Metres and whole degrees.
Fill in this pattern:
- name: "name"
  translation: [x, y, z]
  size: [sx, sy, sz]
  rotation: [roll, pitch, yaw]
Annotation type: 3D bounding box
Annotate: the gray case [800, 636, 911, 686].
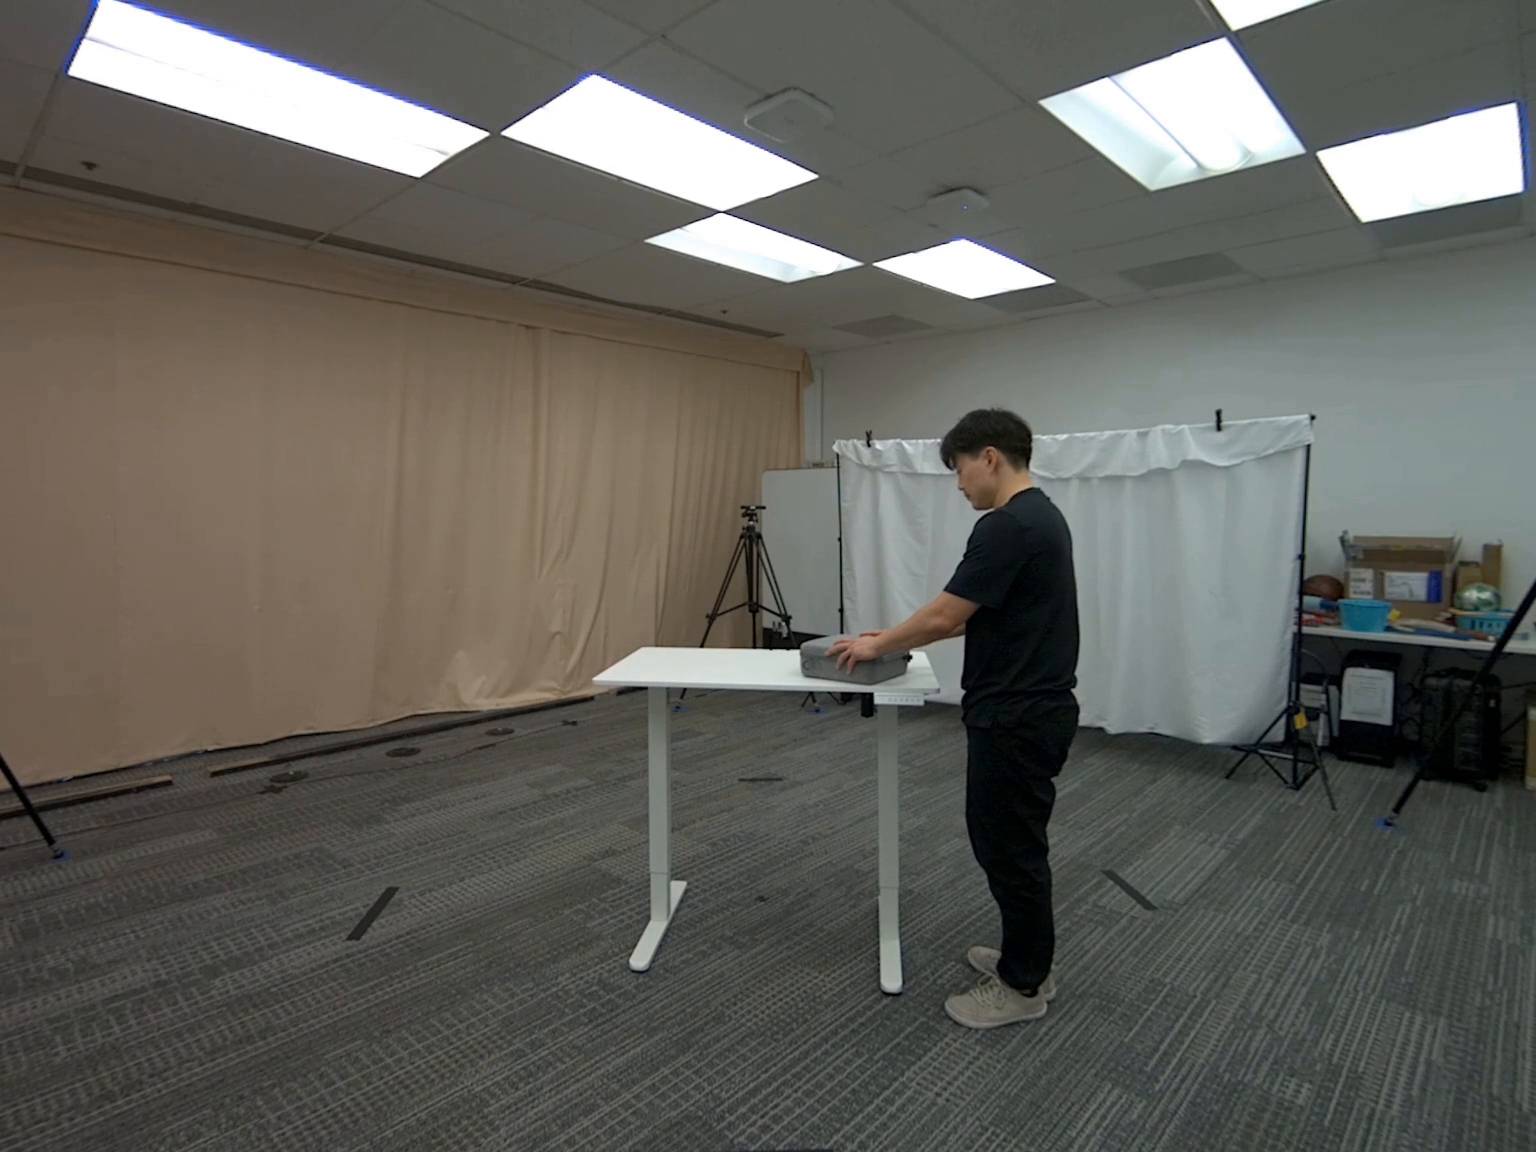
- name: "gray case"
  translation: [0.254, 0.249, 2.524]
  size: [0.269, 0.104, 0.250]
  rotation: [3, 7, 34]
